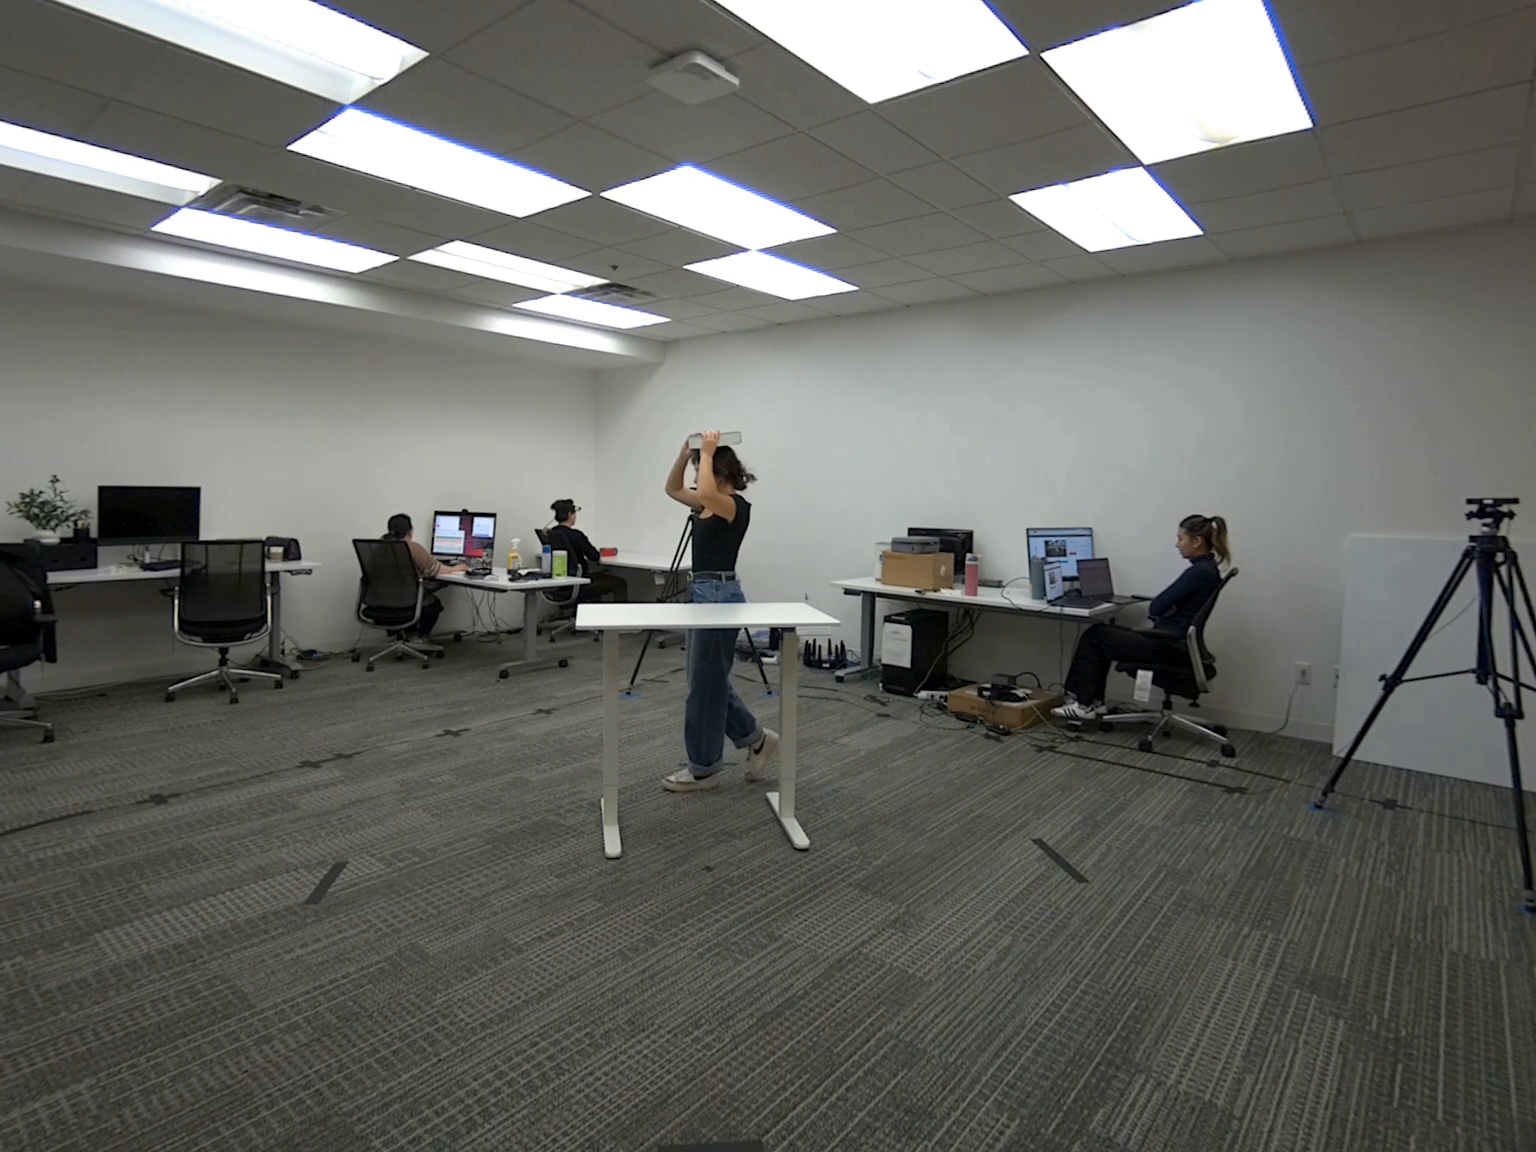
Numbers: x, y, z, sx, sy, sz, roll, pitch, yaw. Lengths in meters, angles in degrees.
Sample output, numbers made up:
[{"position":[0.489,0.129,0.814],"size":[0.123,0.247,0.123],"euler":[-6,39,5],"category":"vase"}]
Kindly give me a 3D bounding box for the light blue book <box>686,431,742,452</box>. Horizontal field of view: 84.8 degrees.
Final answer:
[{"position":[-0.250,-0.628,3.890],"size":[0.188,0.058,0.267],"euler":[-7,10,-17],"category":"light blue book"}]
